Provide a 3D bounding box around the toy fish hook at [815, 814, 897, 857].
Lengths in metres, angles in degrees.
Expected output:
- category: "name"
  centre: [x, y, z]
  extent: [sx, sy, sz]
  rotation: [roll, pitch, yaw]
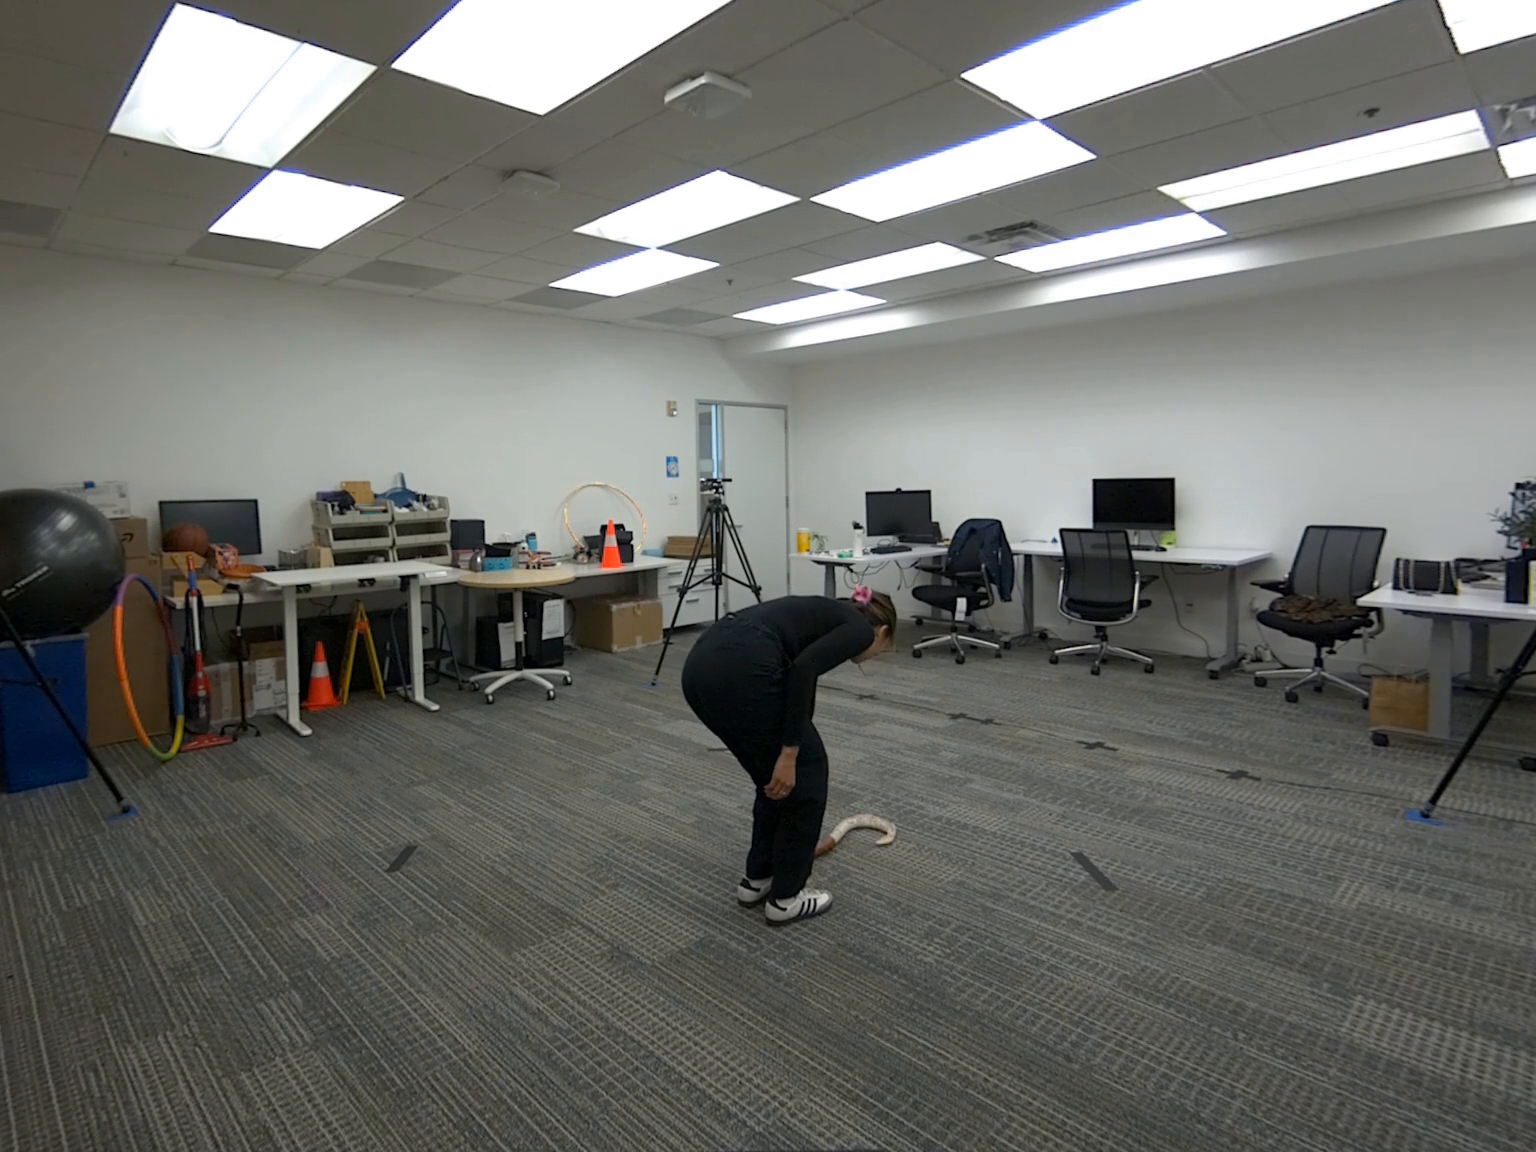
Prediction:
- category: "toy fish hook"
  centre: [0.310, 1.004, 3.233]
  extent: [0.231, 0.048, 0.494]
  rotation: [3, 8, 40]
